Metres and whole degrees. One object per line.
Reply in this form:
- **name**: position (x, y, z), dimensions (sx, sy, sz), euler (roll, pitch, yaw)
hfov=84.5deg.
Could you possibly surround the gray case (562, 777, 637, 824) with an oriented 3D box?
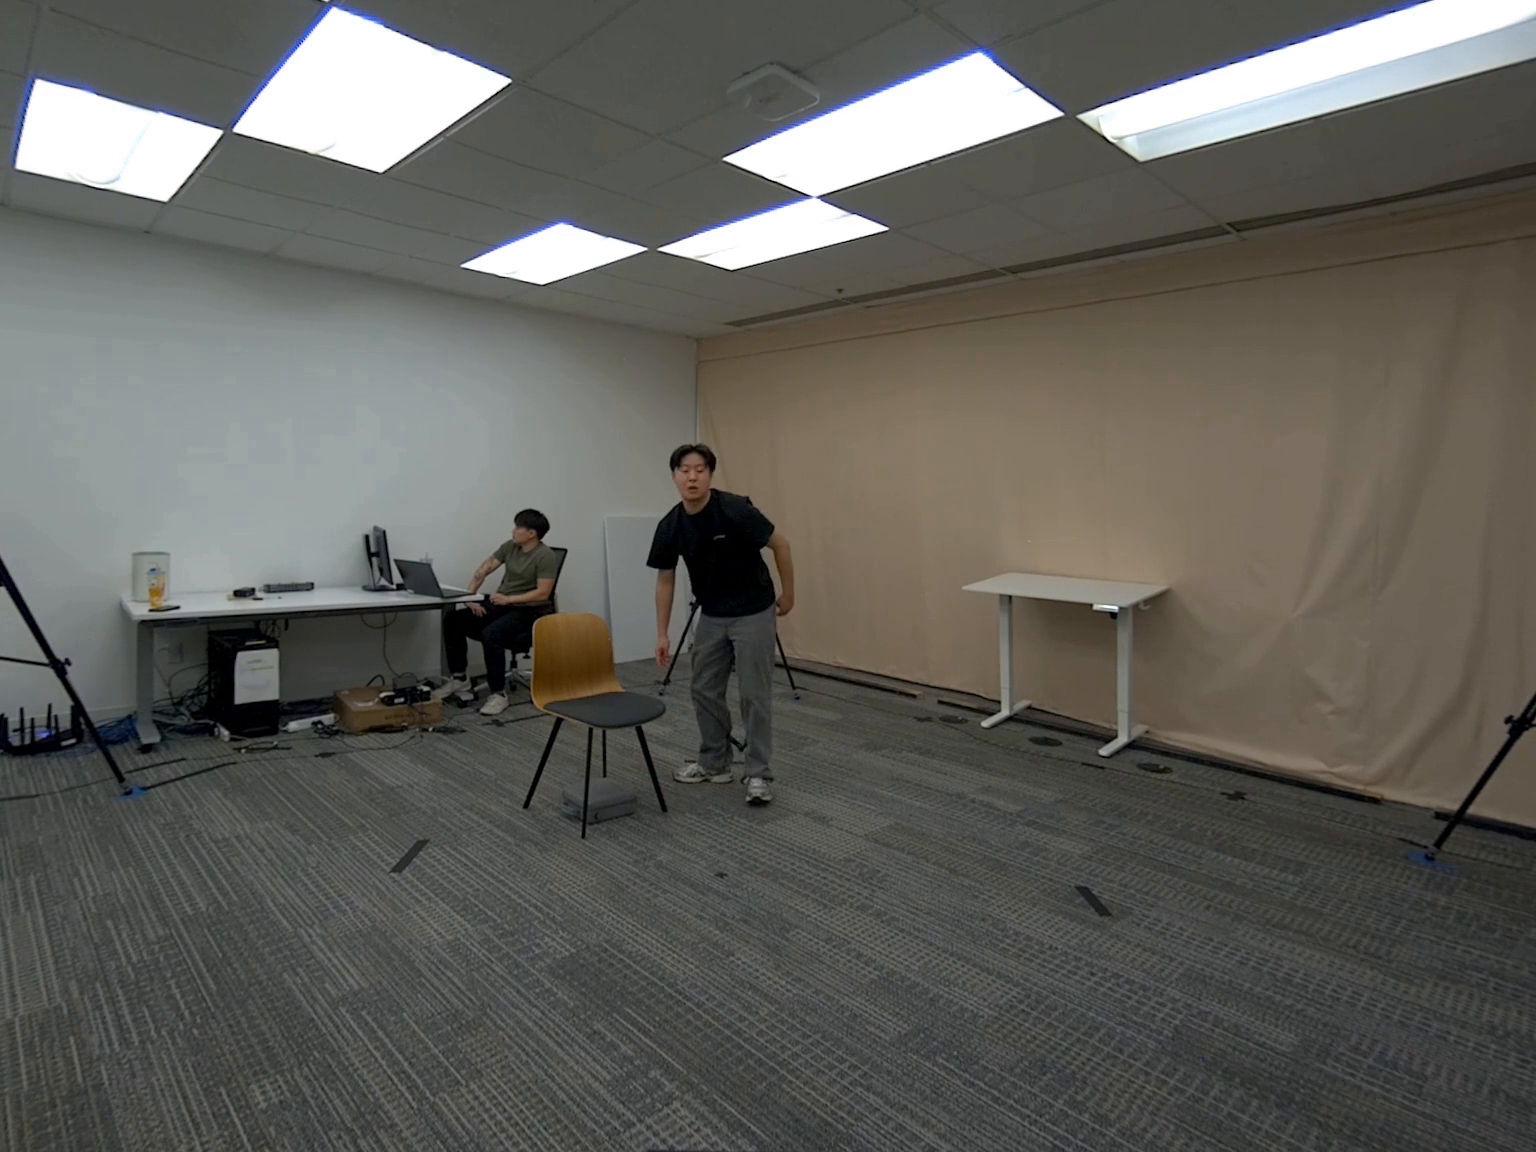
- **gray case**: position (-0.760, 0.977, 3.693), dimensions (0.281, 0.103, 0.270), euler (-3, 6, -38)
